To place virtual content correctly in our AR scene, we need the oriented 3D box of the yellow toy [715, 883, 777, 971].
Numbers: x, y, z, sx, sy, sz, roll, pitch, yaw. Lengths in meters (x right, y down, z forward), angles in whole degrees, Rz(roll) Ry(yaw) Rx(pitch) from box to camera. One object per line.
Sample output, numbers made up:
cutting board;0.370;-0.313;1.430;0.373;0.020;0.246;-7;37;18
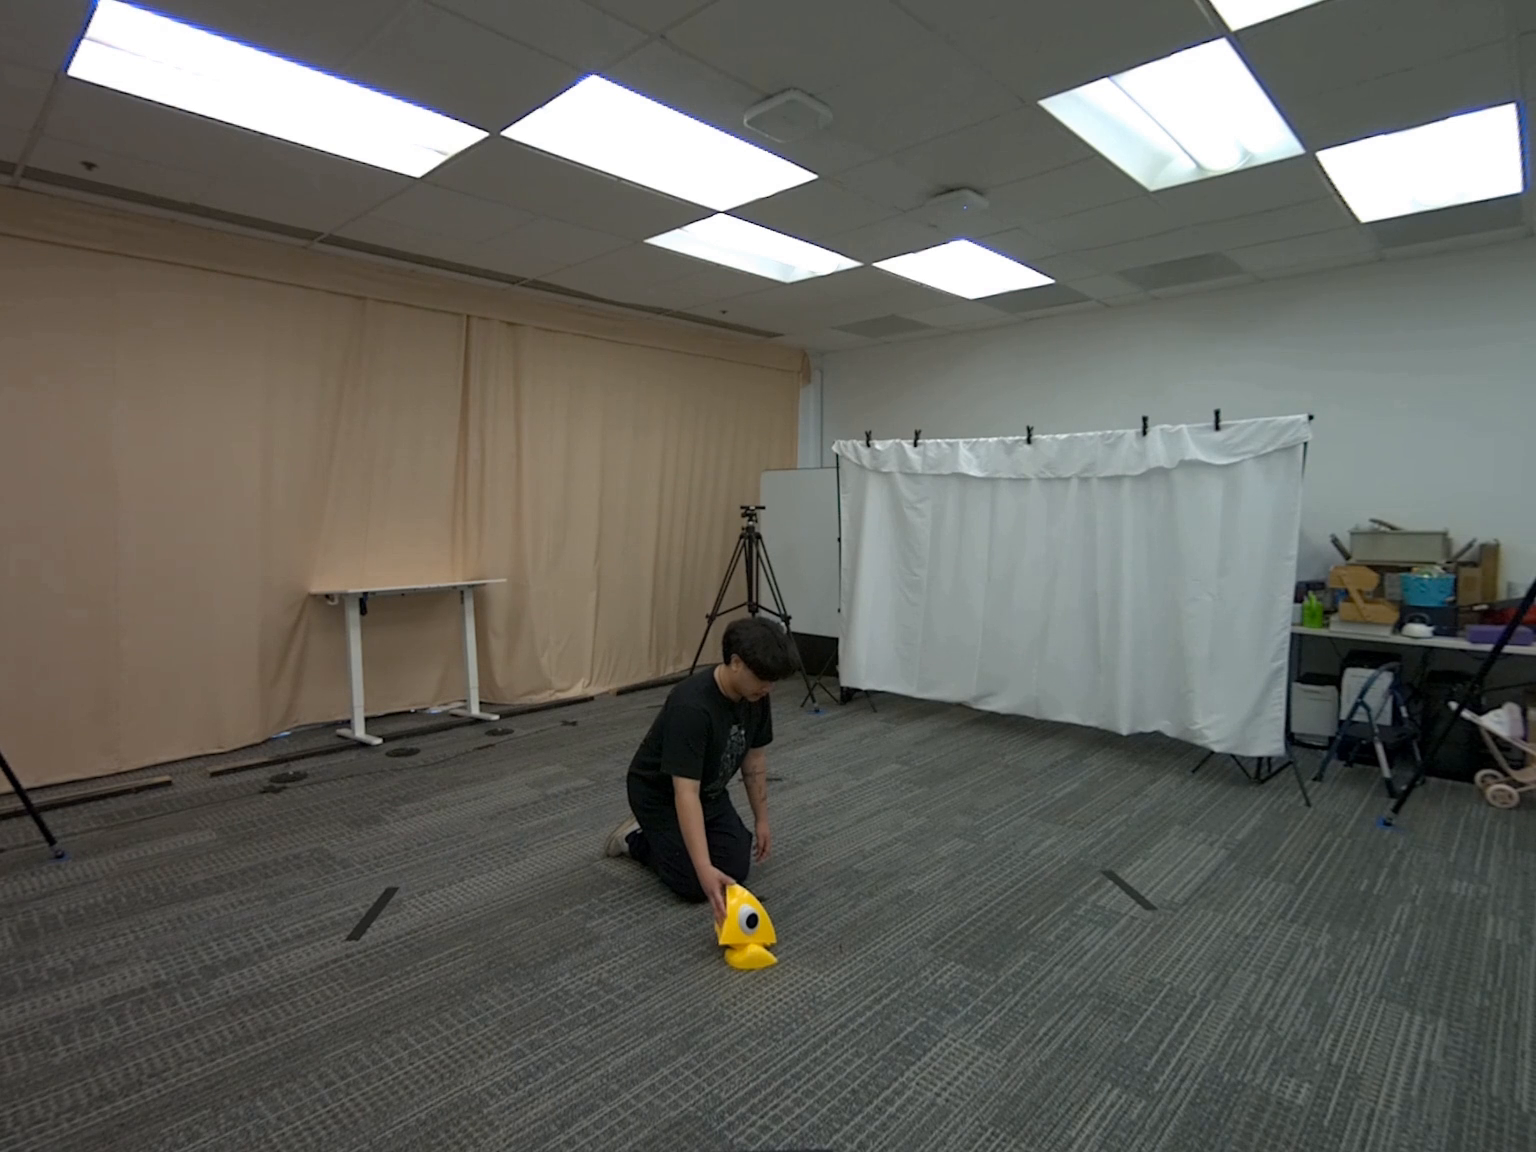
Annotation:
yellow toy;-0.063;1.062;2.619;0.192;0.230;0.206;-1;2;-3
